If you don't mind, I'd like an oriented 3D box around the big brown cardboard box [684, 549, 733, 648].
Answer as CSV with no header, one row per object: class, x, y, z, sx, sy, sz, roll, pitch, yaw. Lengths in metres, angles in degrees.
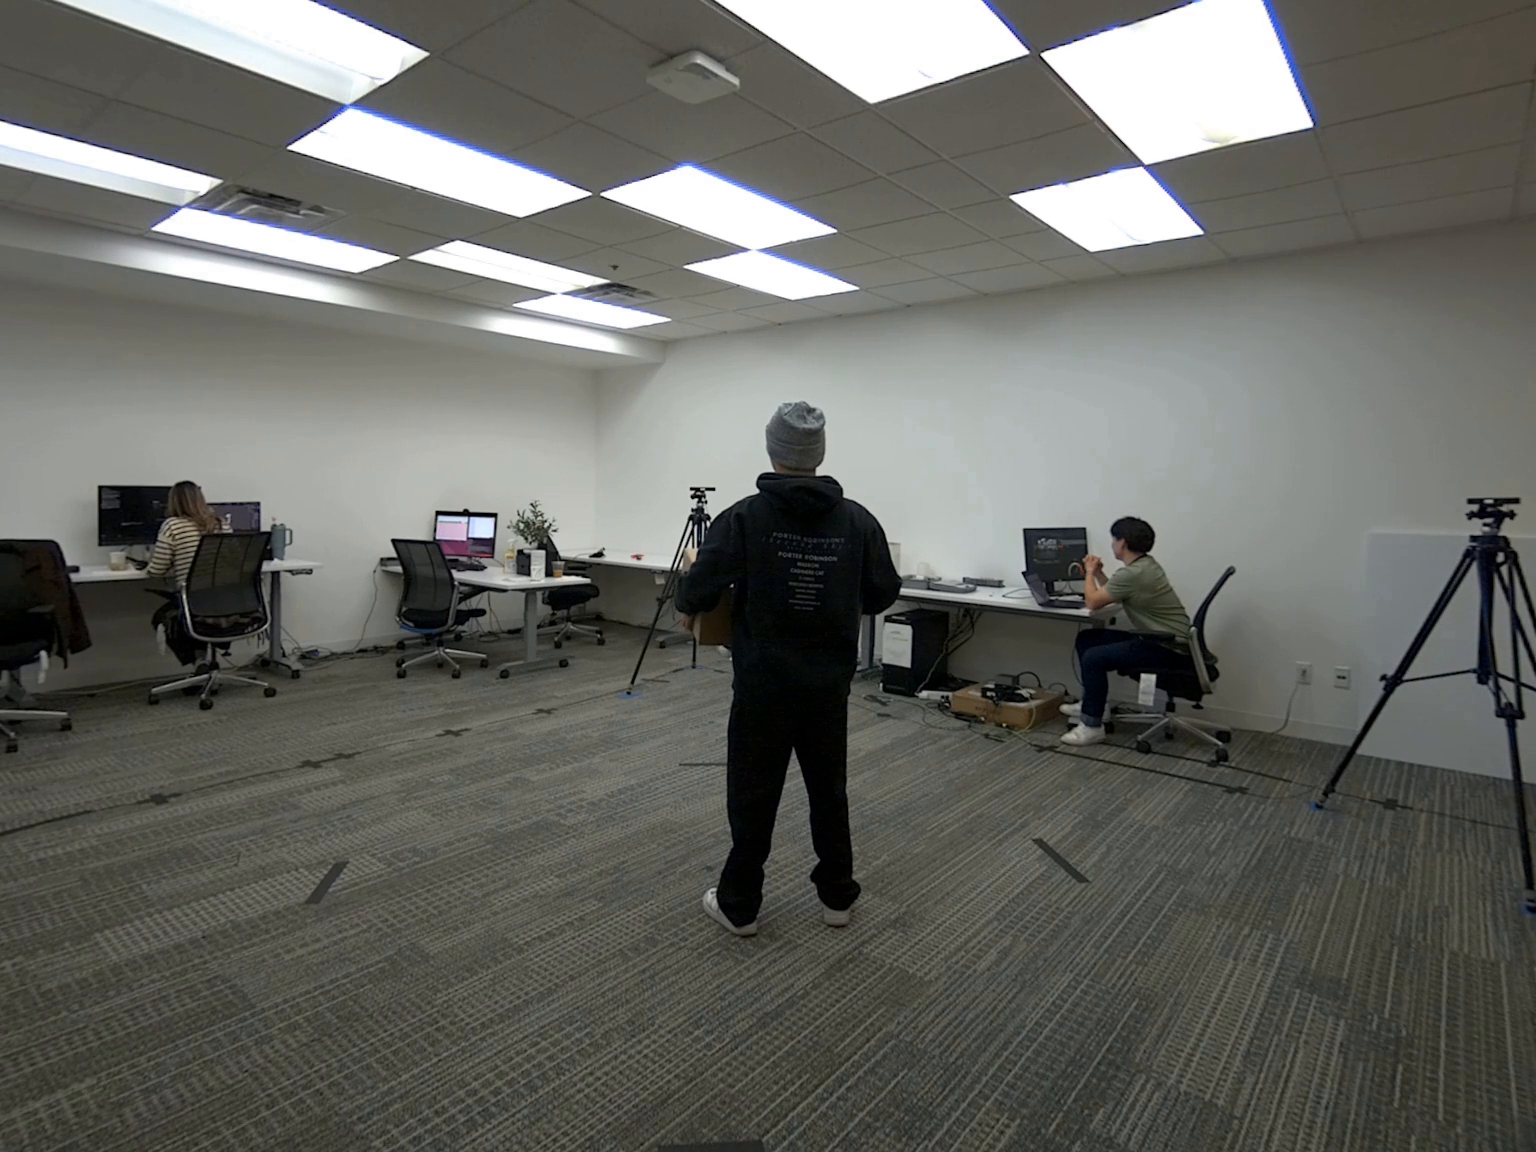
big brown cardboard box,-0.012,0.064,3.058,0.583,0.230,0.427,3,15,-10
